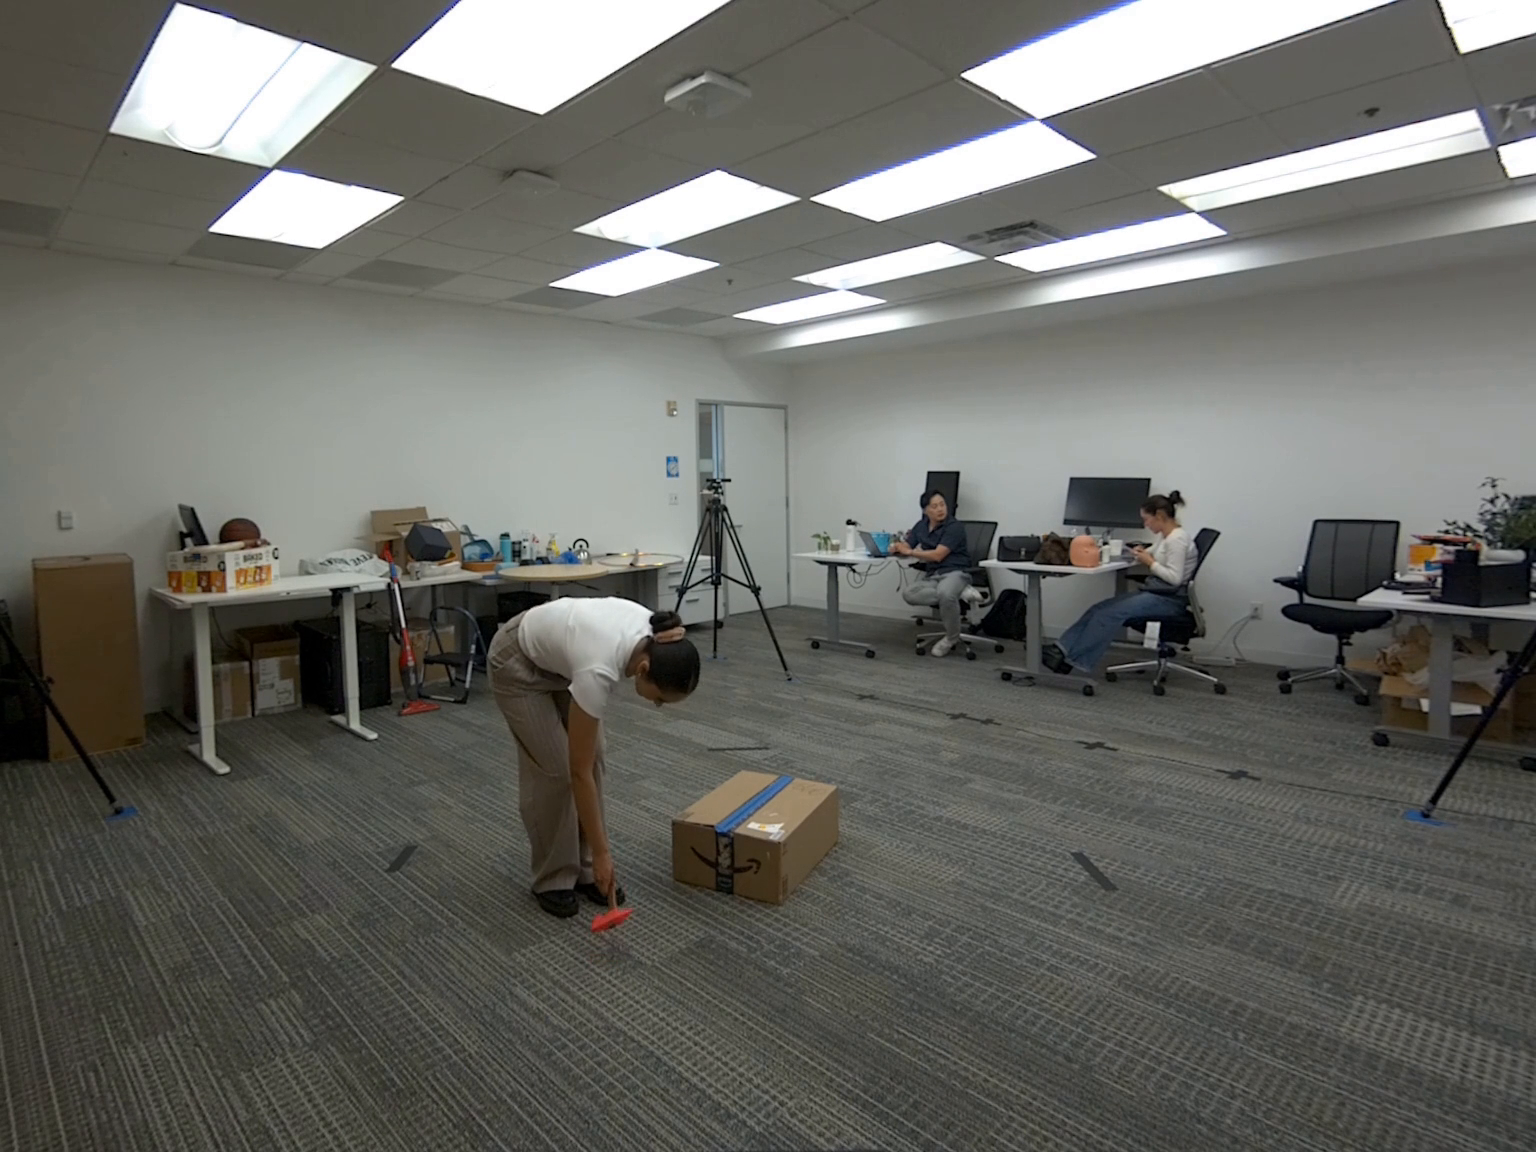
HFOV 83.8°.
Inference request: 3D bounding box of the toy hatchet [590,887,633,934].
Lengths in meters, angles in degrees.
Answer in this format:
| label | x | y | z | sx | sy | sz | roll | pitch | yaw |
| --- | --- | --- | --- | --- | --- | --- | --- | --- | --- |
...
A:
| label | x | y | z | sx | sy | sz | roll | pitch | yaw |
| --- | --- | --- | --- | --- | --- | --- | --- | --- | --- |
| toy hatchet | -0.496 | 0.999 | 2.577 | 0.130 | 0.029 | 0.276 | -32 | 15 | -21 |
